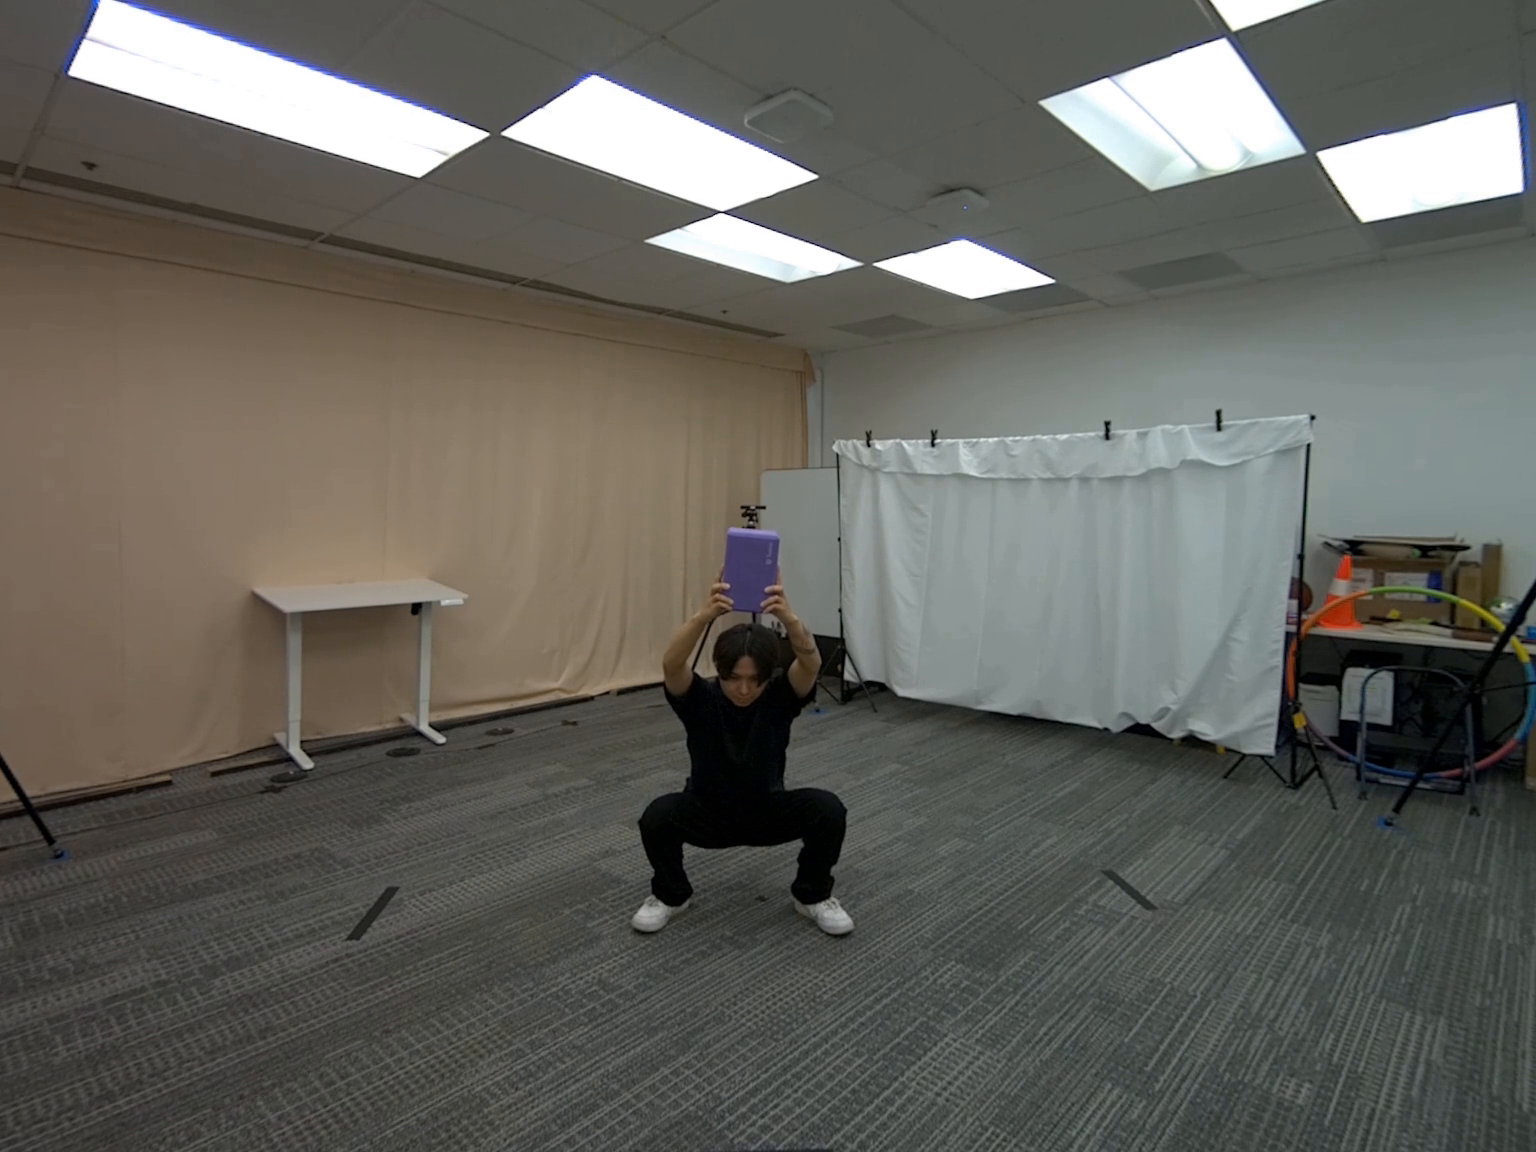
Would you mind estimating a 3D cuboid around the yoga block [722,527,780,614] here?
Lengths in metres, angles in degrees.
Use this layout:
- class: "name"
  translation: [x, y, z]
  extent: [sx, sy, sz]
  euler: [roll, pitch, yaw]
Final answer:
- class: "yoga block"
  translation: [-0.042, -0.016, 2.384]
  extent: [0.150, 0.228, 0.076]
  euler: [7, 11, 5]
